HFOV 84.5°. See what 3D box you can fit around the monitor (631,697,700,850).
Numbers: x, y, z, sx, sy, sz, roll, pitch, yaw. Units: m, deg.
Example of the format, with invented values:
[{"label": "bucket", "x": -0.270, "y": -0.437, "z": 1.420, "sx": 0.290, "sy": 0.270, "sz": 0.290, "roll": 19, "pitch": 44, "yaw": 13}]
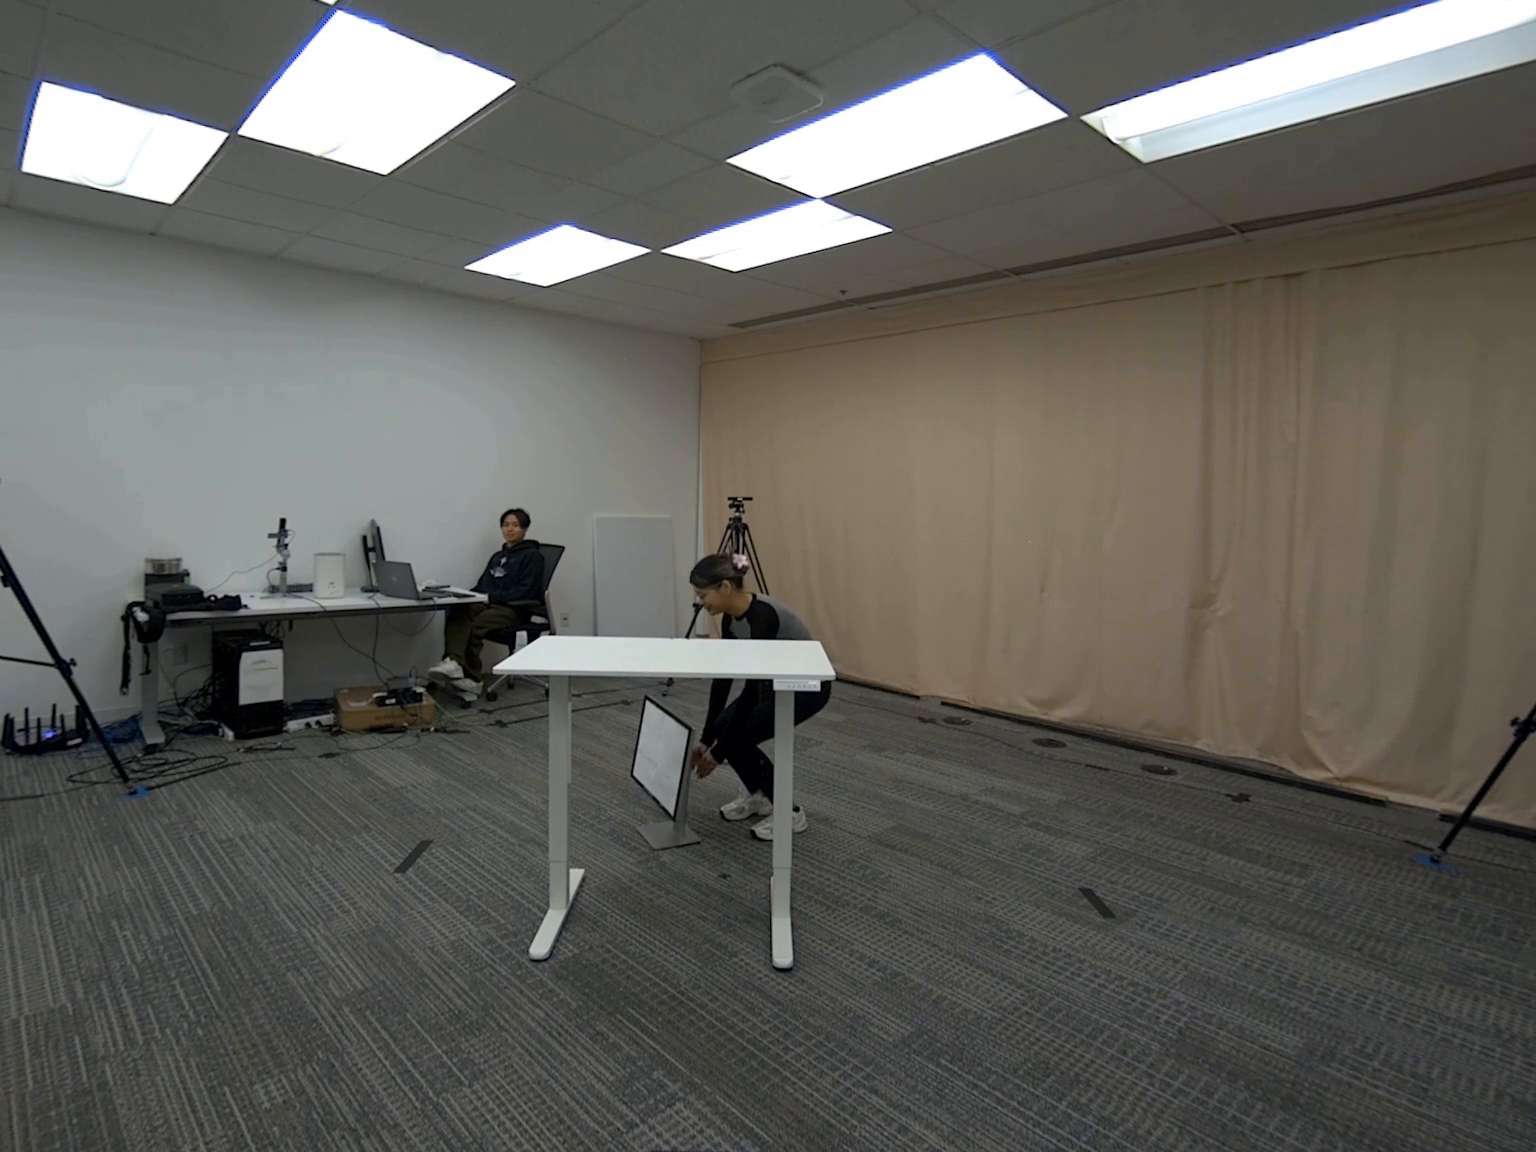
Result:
[{"label": "monitor", "x": -0.415, "y": 0.812, "z": 3.455, "sx": 0.184, "sy": 0.521, "sz": 0.550, "roll": -3, "pitch": 5, "yaw": -28}]
